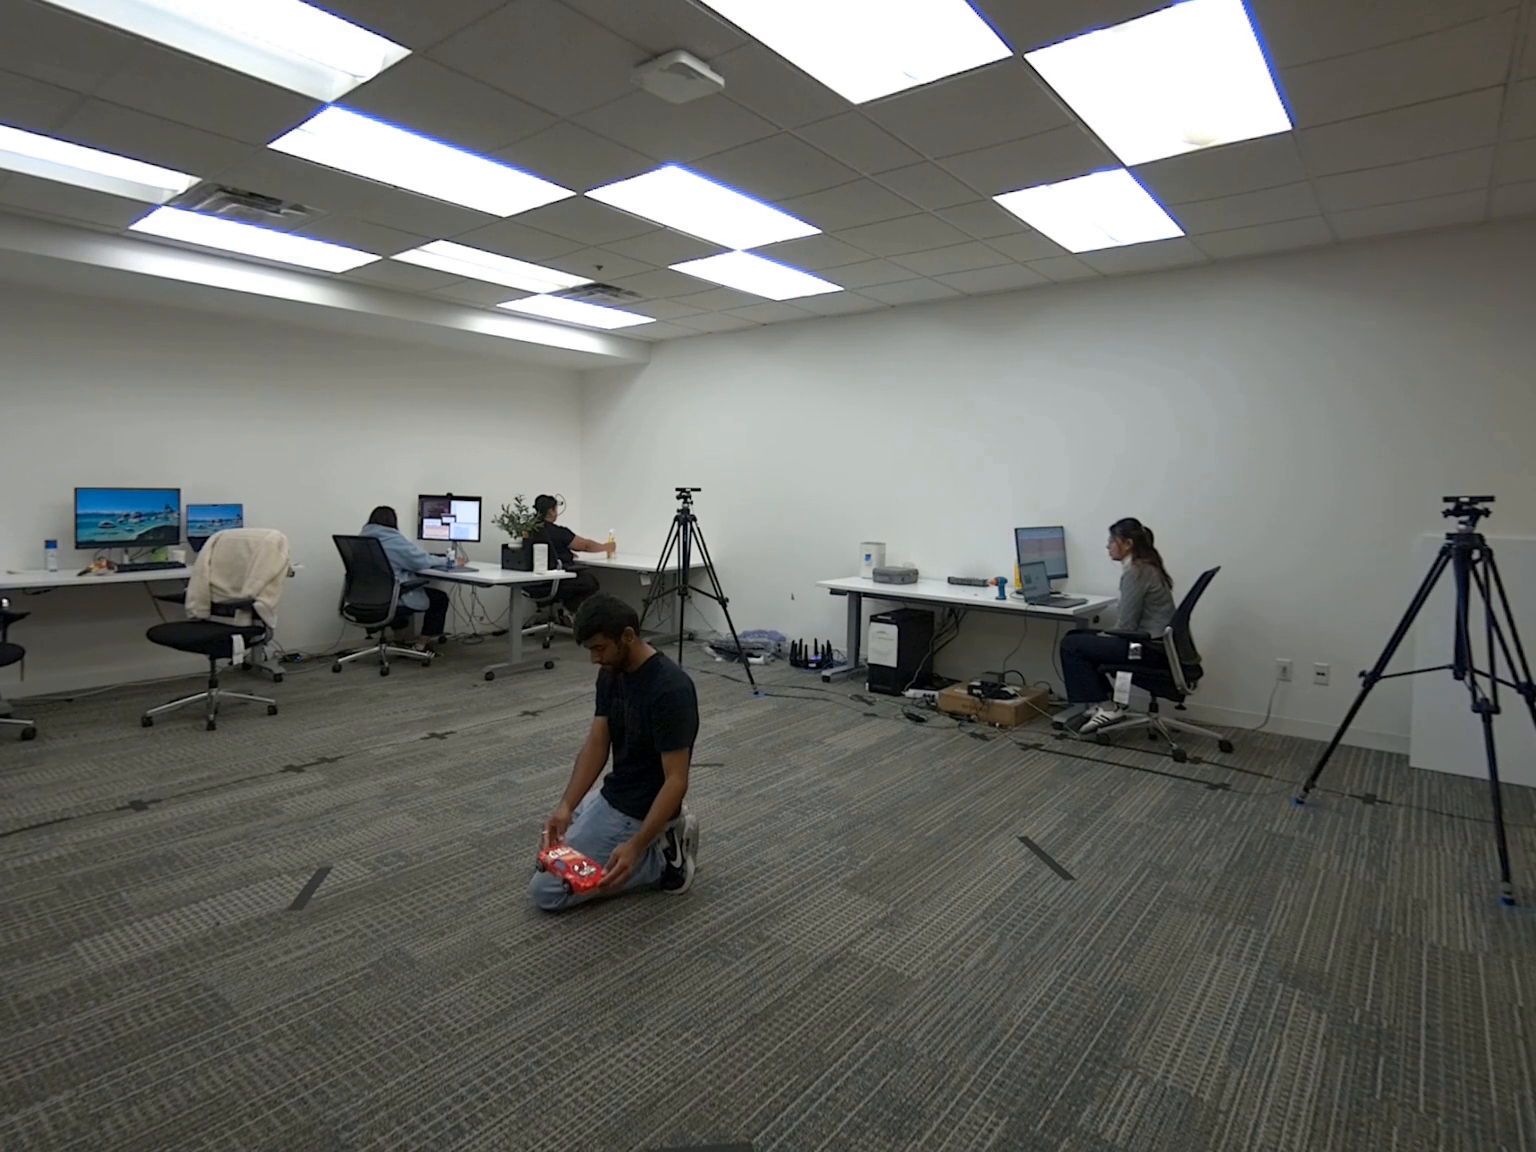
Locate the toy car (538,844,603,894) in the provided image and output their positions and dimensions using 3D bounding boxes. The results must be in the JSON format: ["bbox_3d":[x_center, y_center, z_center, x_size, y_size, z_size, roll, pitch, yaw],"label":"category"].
[{"bbox_3d":[-0.583,0.864,2.504,0.127,0.083,0.262,-10,7,-44],"label":"toy car"}]
